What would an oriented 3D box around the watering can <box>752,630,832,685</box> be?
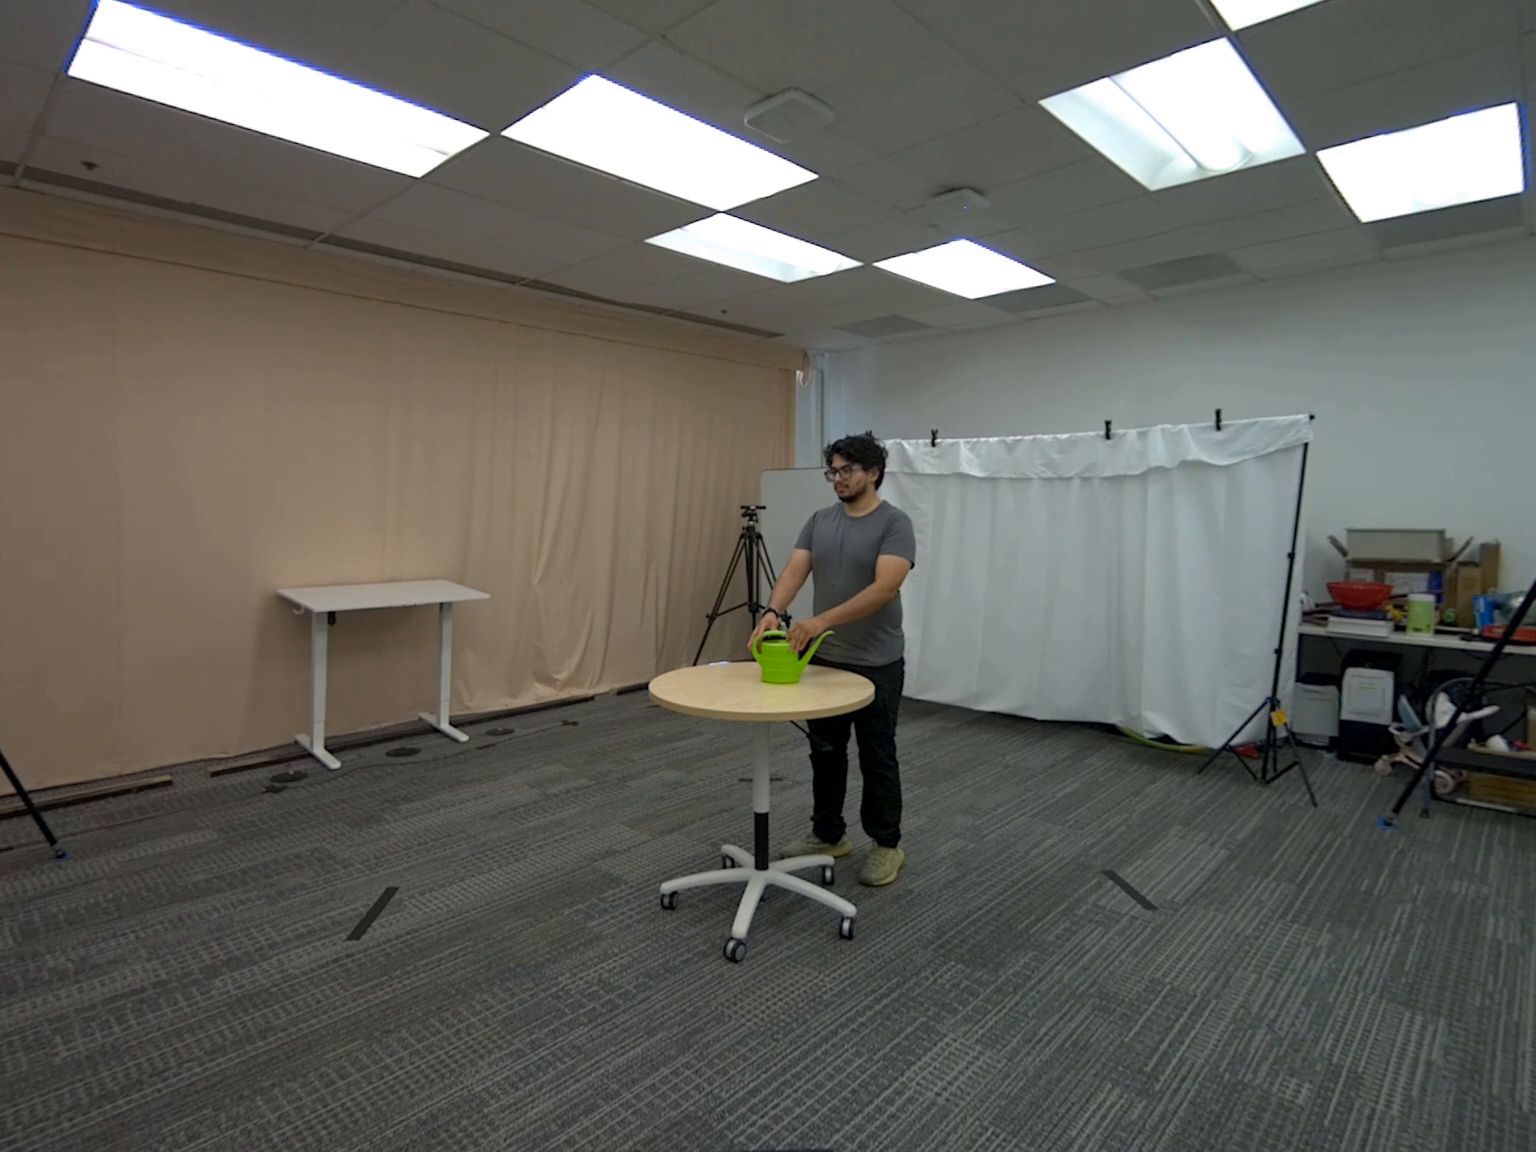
[{"bbox_3d":[0.087,0.286,2.898,0.284,0.177,0.096,0,2,19],"label":"watering can"}]
